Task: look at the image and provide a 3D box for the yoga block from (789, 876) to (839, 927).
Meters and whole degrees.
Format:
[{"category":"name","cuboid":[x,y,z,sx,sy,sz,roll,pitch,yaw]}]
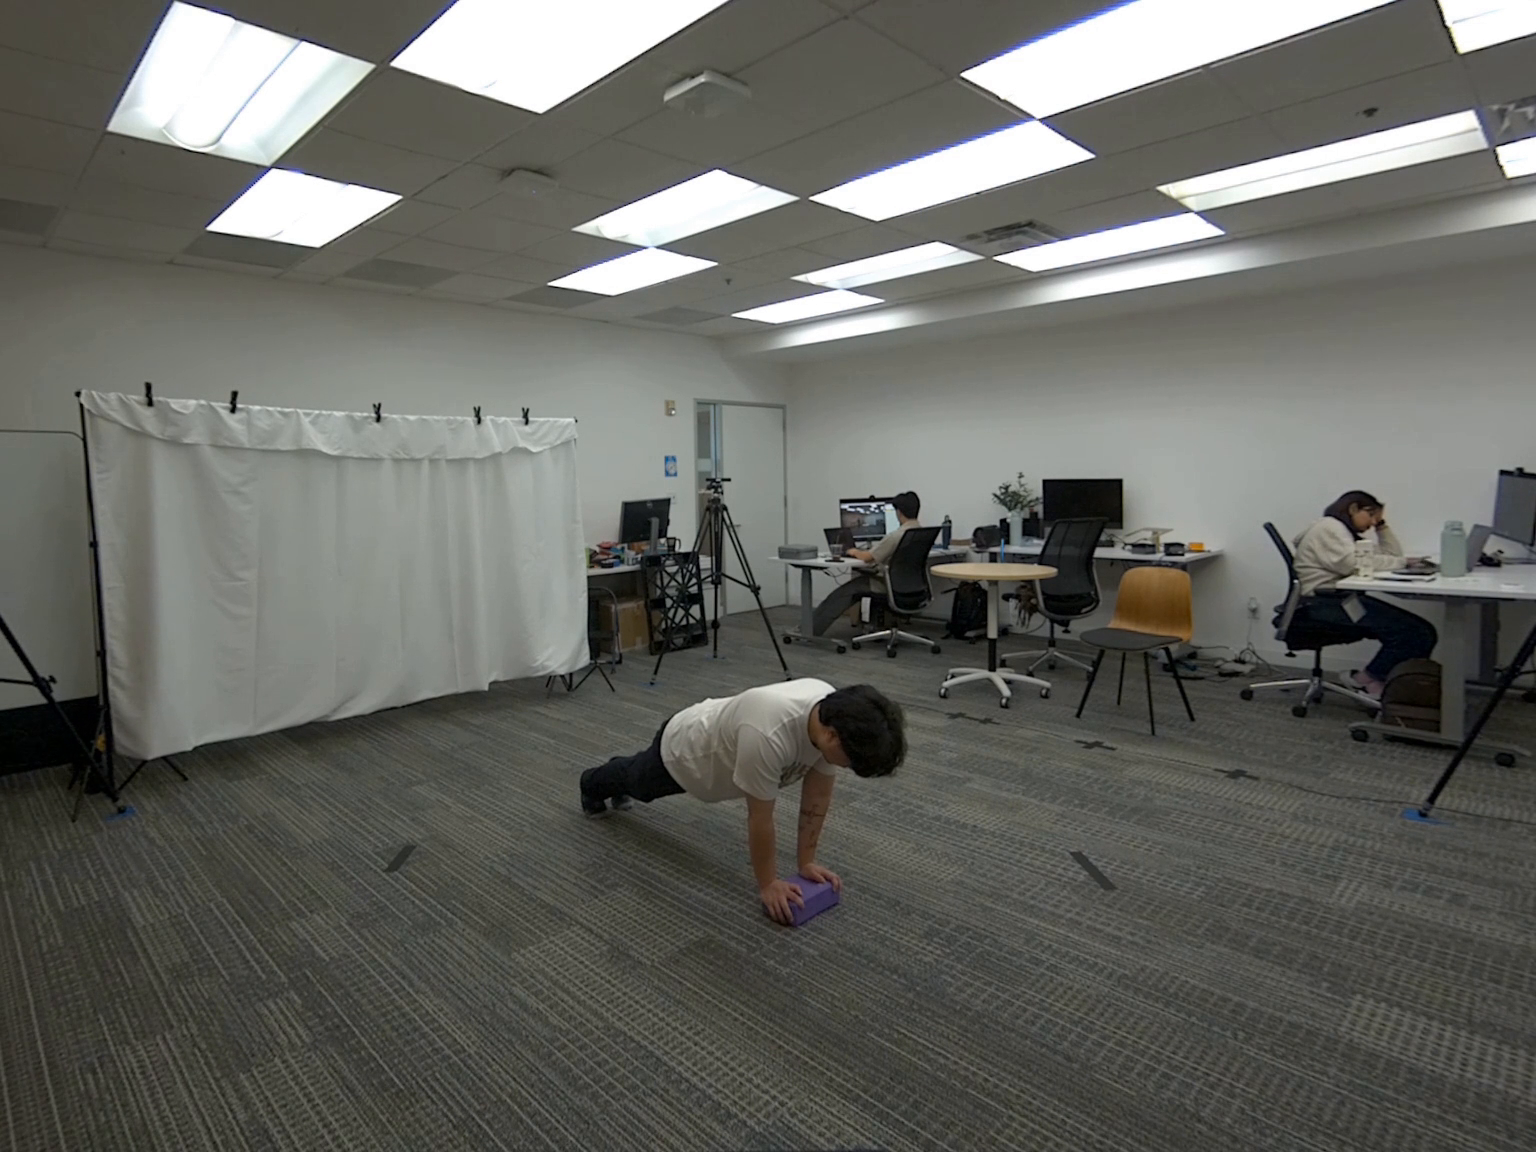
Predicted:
[{"category":"yoga block","cuboid":[0.111,1.045,2.777,0.153,0.076,0.223,5,9,44]}]
